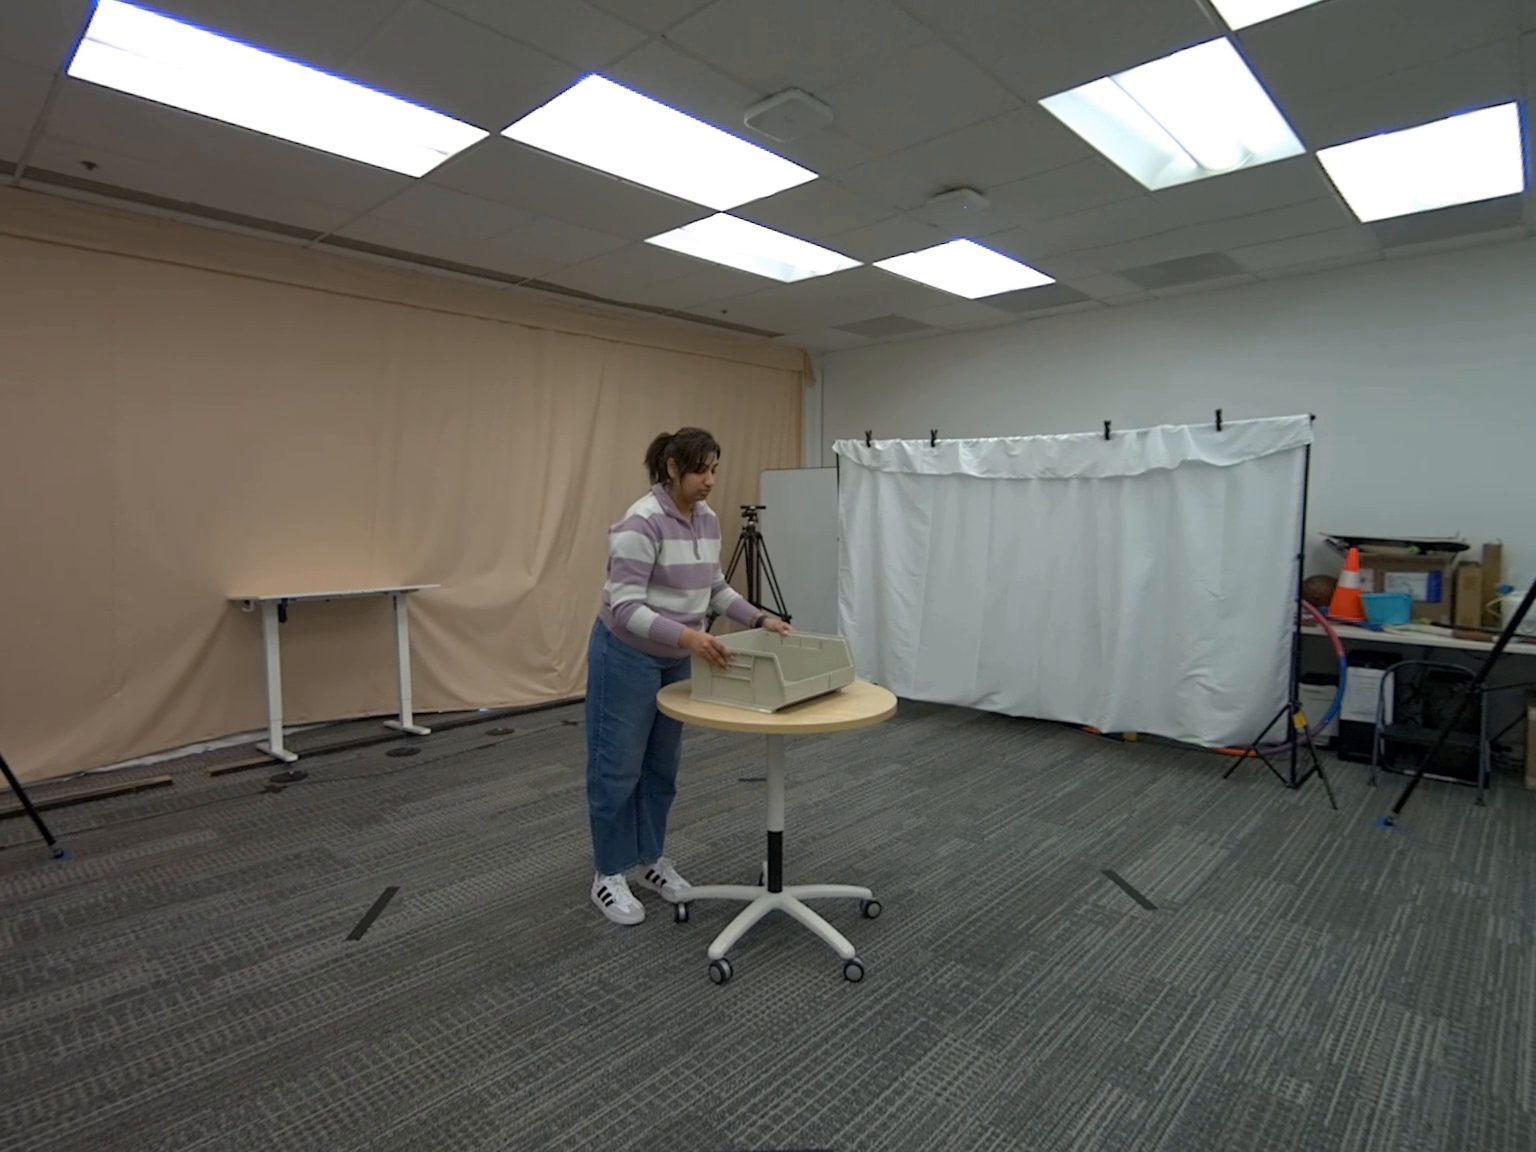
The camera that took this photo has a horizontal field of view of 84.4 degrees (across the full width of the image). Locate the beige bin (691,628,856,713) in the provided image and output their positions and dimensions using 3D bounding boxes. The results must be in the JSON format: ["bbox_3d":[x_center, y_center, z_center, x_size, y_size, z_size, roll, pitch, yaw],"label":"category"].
[{"bbox_3d":[0.014,0.291,2.690,0.389,0.188,0.410,1,5,36],"label":"beige bin"}]
